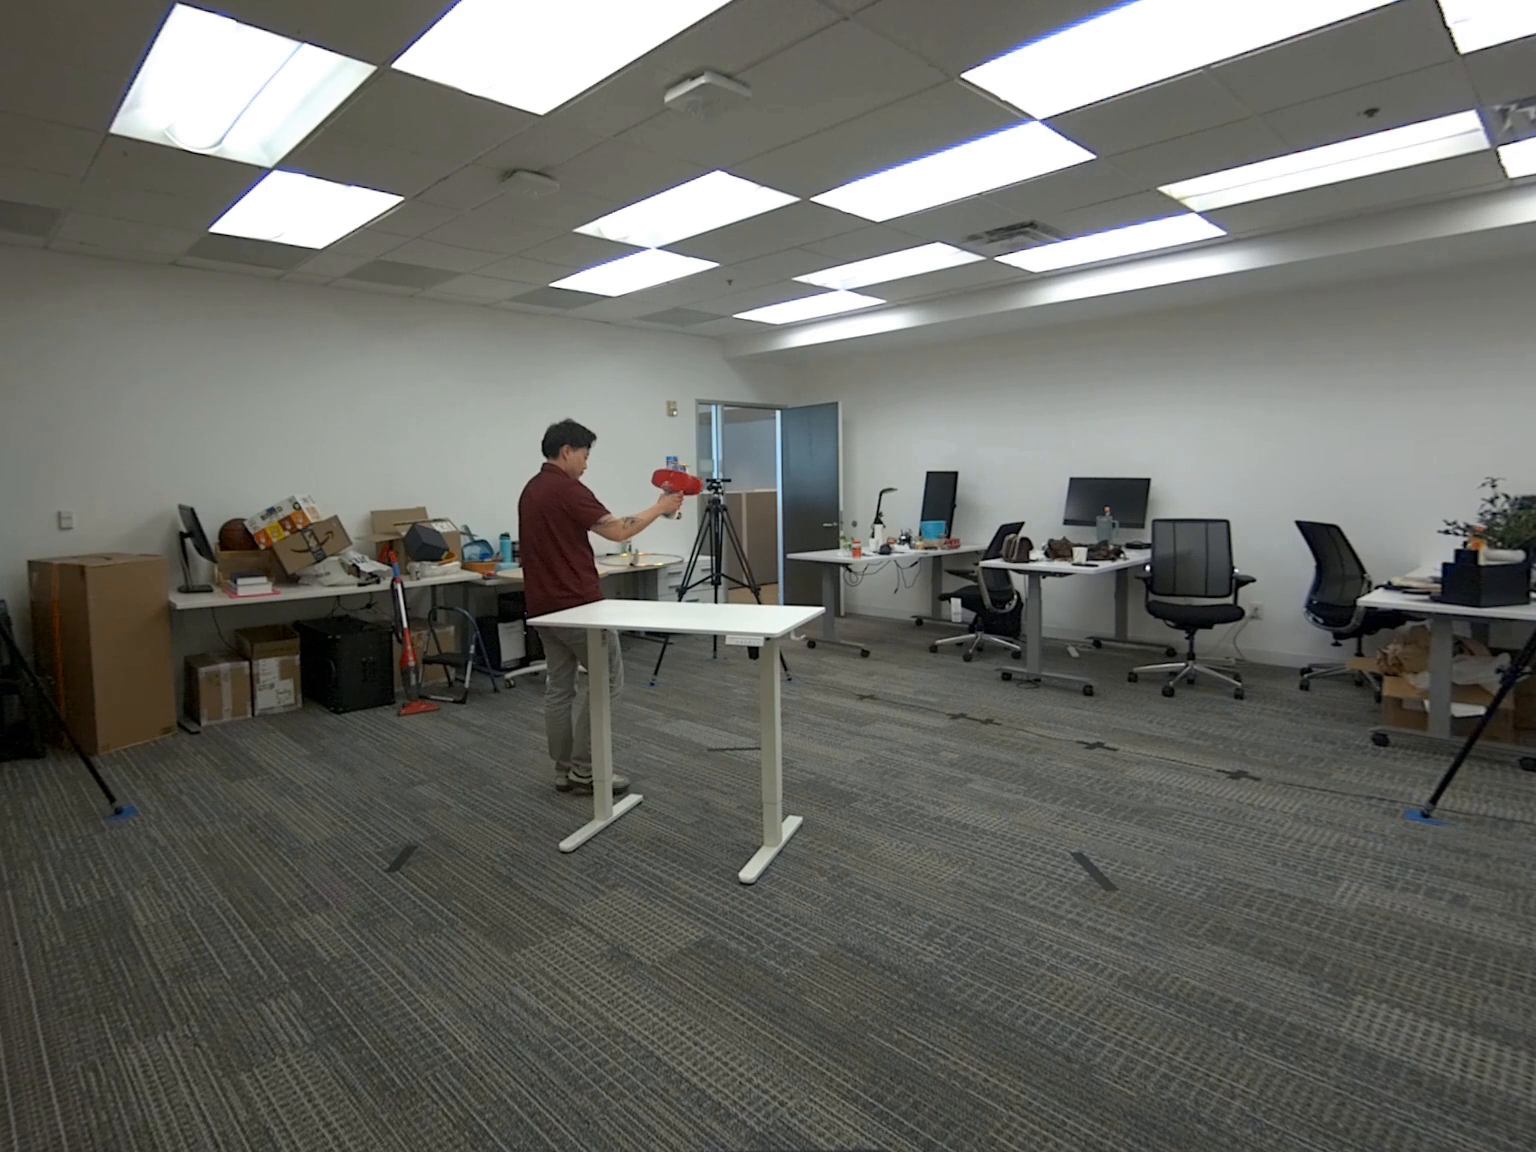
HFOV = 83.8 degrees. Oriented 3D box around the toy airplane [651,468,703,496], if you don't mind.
[{"bbox_3d":[-0.412,-0.384,3.908,0.255,0.265,0.150,-18,-37,29],"label":"toy airplane"}]
